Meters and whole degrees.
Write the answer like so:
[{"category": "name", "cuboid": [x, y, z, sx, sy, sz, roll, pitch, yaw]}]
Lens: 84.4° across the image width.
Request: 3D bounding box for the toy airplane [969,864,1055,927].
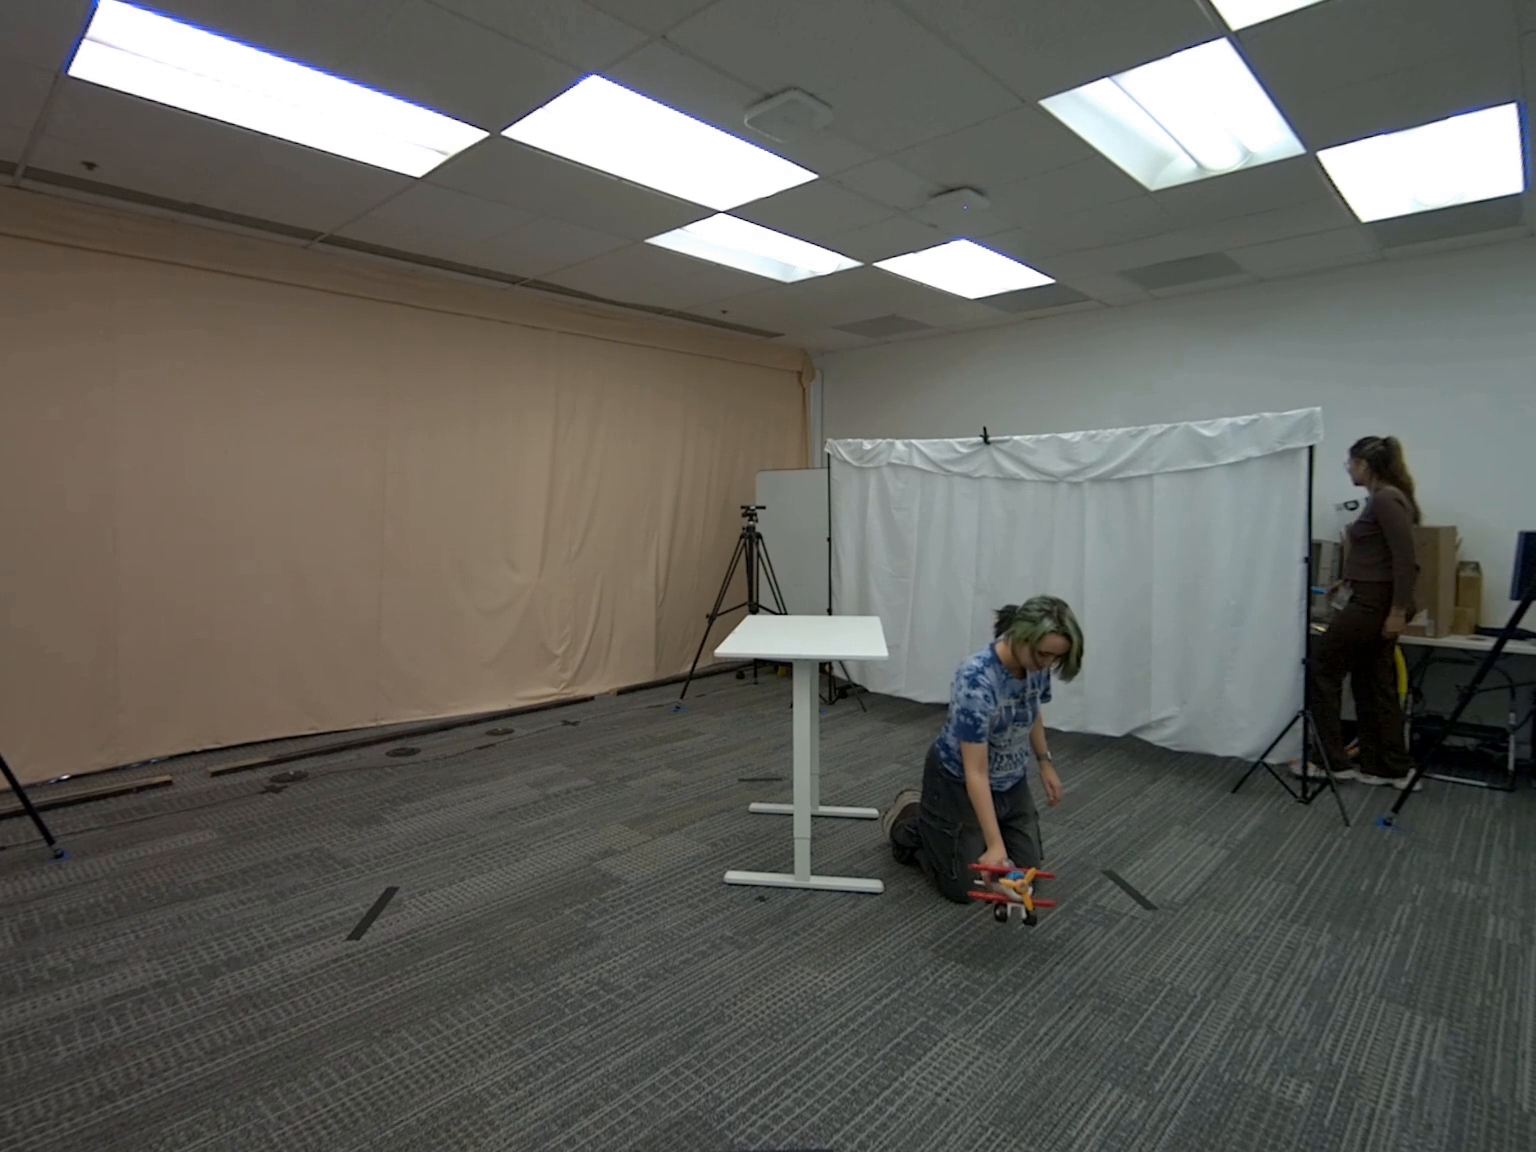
[{"category": "toy airplane", "cuboid": [0.715, 0.942, 2.567, 0.244, 0.157, 0.266, 9, -5, -31]}]
